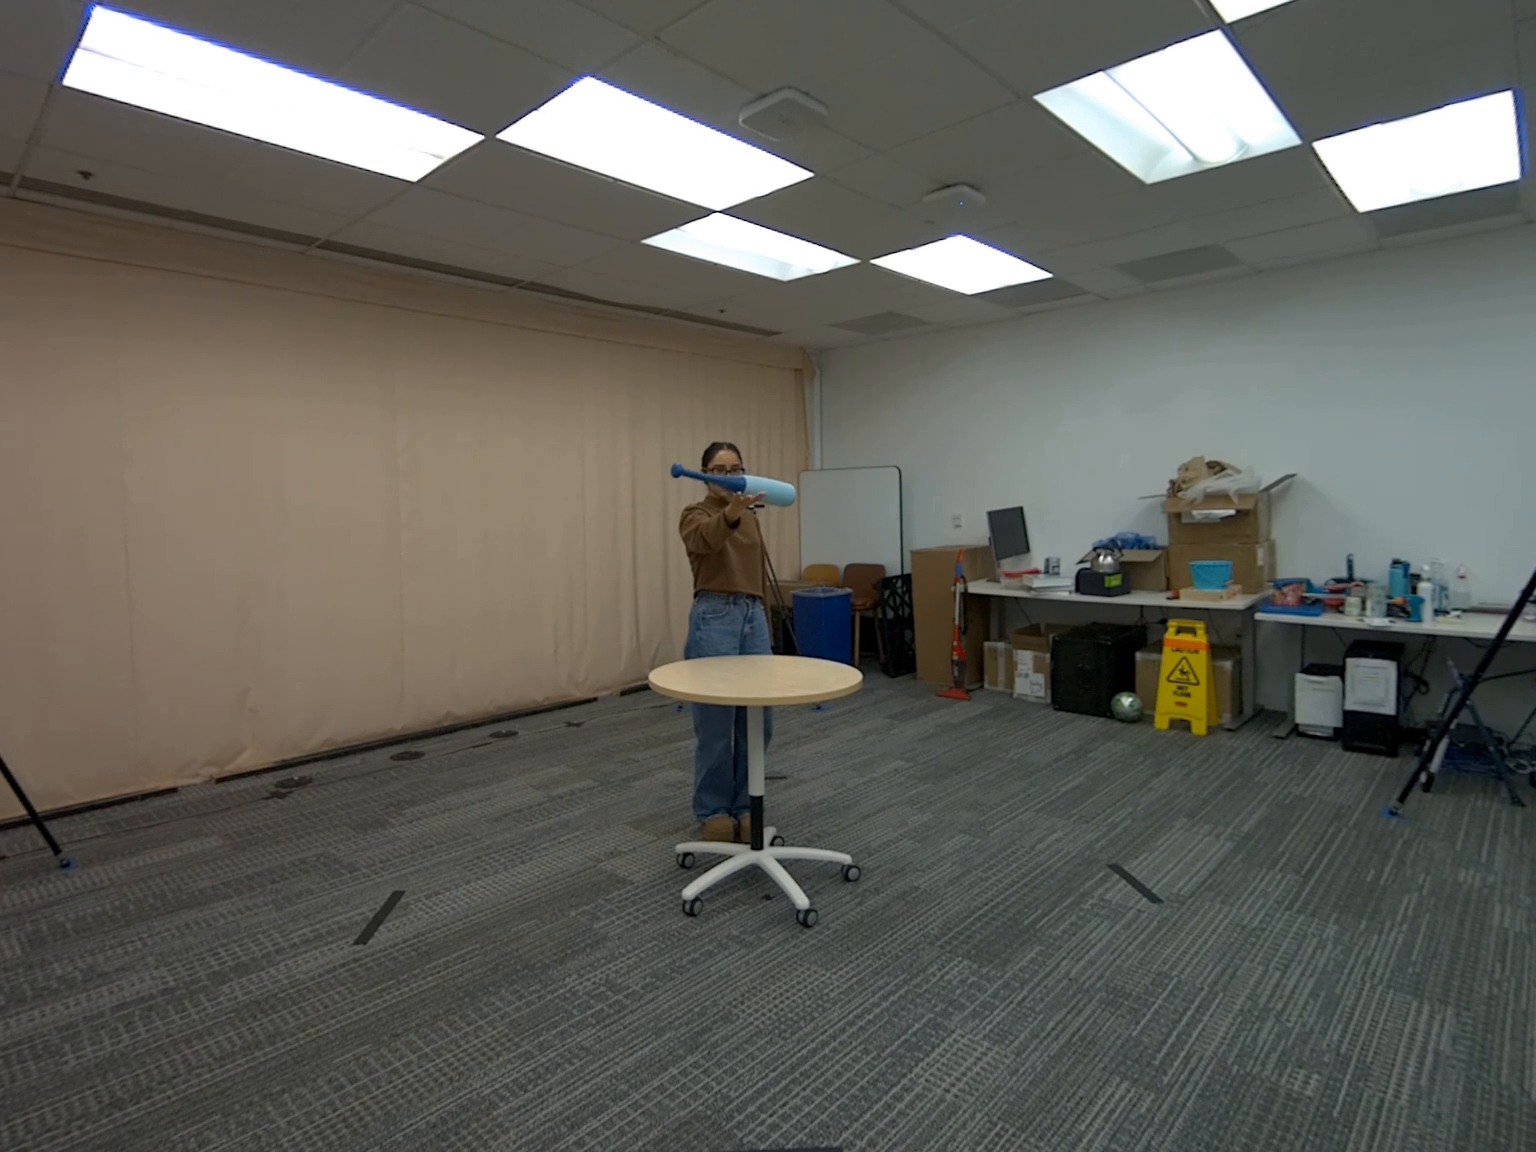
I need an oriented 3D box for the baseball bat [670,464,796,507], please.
[{"bbox_3d":[-0.110,-0.318,2.899,0.524,0.089,0.092,9,-4,-43],"label":"baseball bat"}]
